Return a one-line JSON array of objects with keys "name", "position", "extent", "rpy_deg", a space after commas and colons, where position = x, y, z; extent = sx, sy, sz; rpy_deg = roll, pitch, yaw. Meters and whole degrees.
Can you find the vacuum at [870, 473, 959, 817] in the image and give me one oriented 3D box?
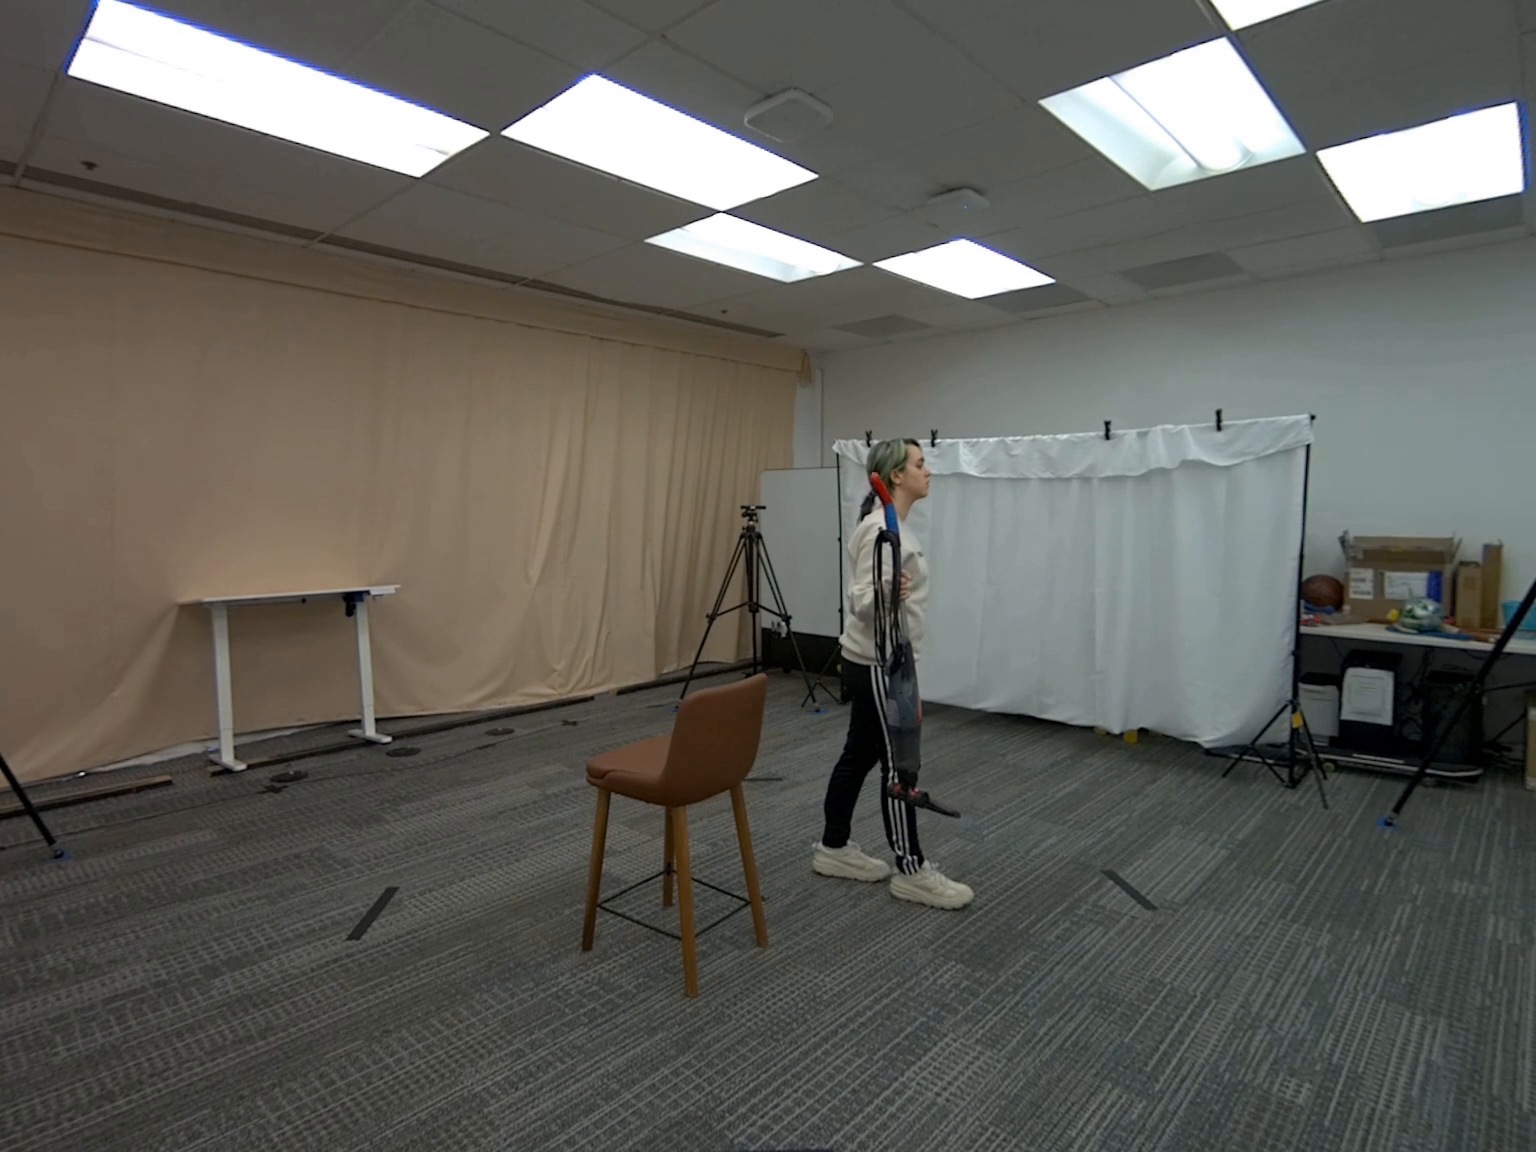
[{"name": "vacuum", "position": [0.401, 0.200, 2.618], "extent": [0.140, 1.041, 0.261], "rpy_deg": [-18, 13, -42]}]
